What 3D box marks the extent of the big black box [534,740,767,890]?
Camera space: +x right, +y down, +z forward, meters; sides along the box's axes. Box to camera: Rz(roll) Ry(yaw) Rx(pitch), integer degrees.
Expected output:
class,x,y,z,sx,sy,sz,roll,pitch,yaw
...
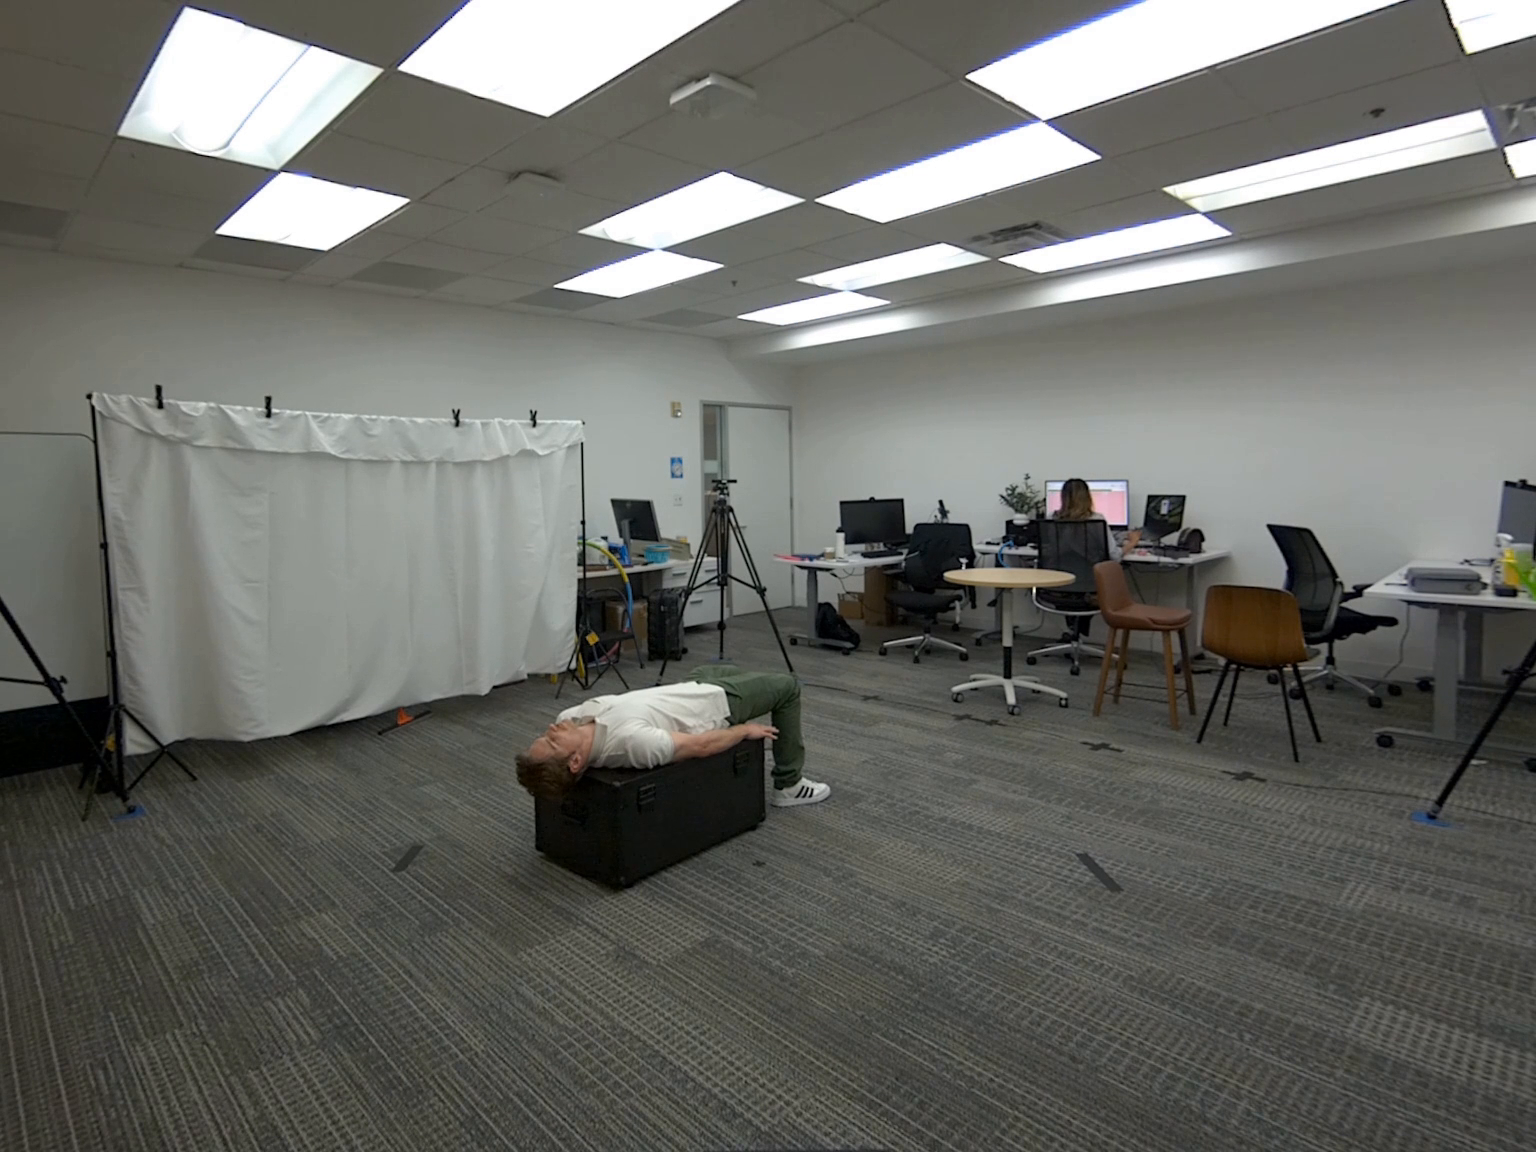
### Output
class,x,y,z,sx,sy,sz,roll,pitch,yaw
big black box,-0.415,0.840,3.344,0.539,0.384,0.845,3,6,41
